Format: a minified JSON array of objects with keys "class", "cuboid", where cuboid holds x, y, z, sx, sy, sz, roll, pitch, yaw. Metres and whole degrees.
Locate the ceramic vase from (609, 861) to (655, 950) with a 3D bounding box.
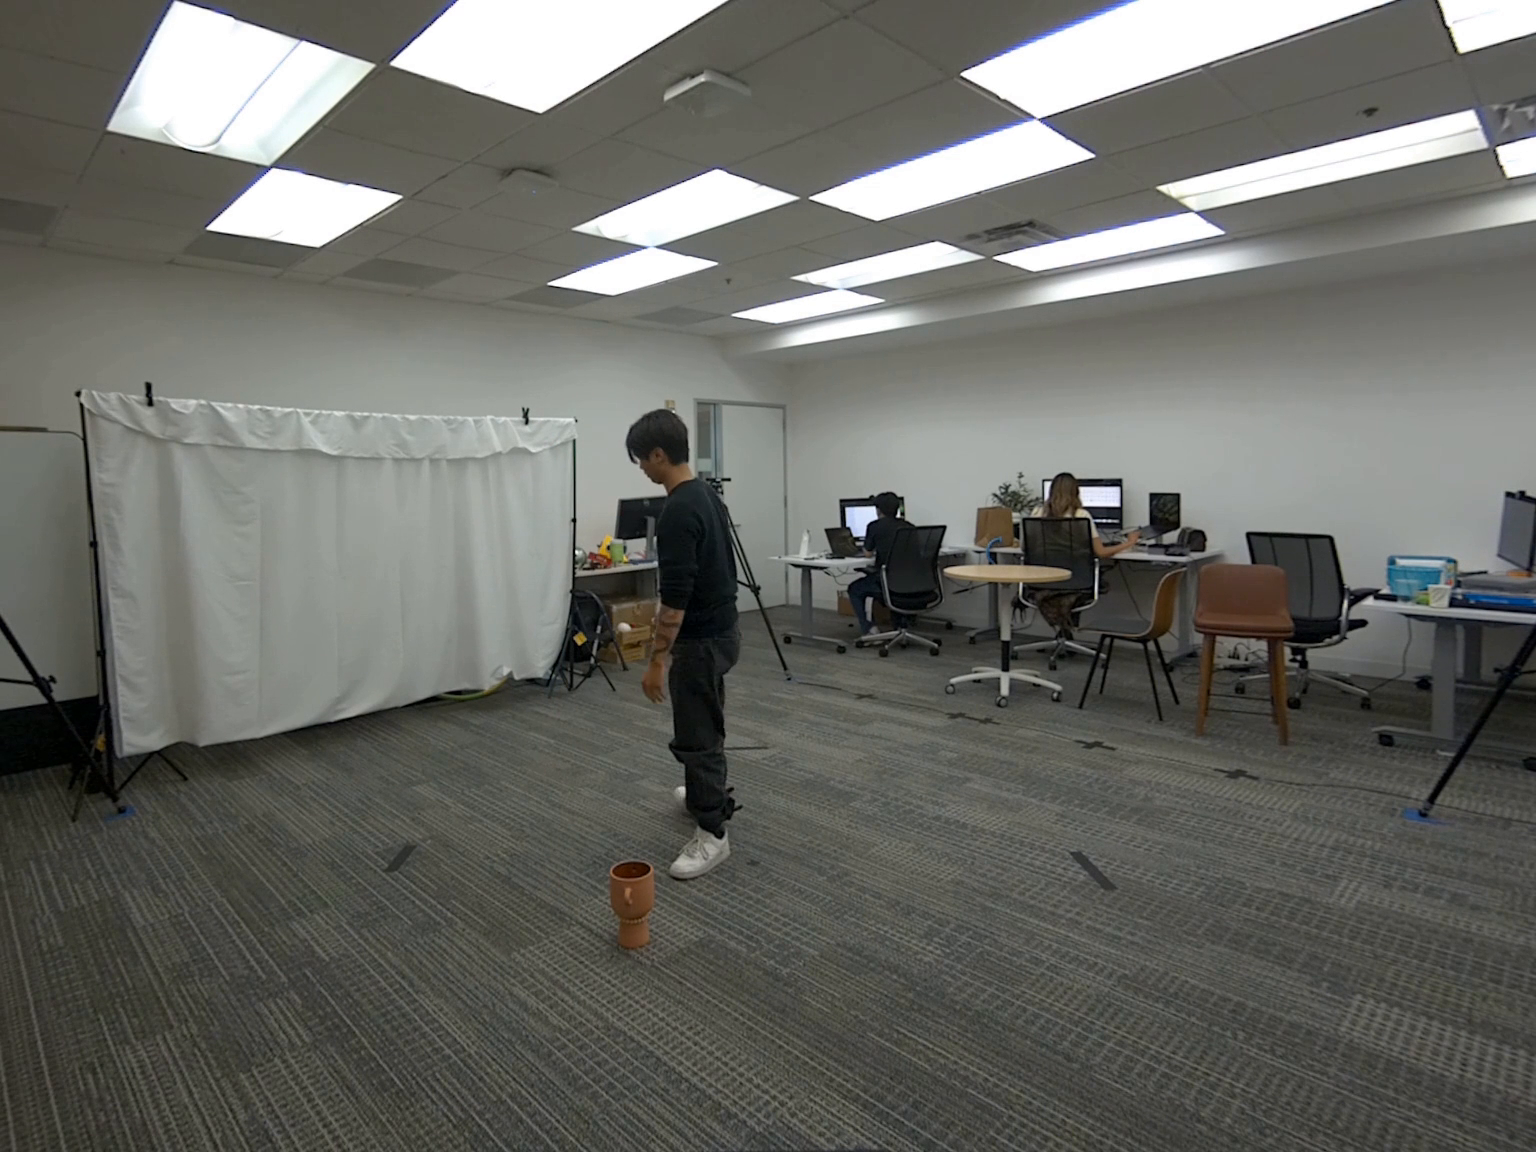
[{"class":"ceramic vase","cuboid":[-0.408,0.998,2.595,0.139,0.219,0.155,3,6,39]}]
